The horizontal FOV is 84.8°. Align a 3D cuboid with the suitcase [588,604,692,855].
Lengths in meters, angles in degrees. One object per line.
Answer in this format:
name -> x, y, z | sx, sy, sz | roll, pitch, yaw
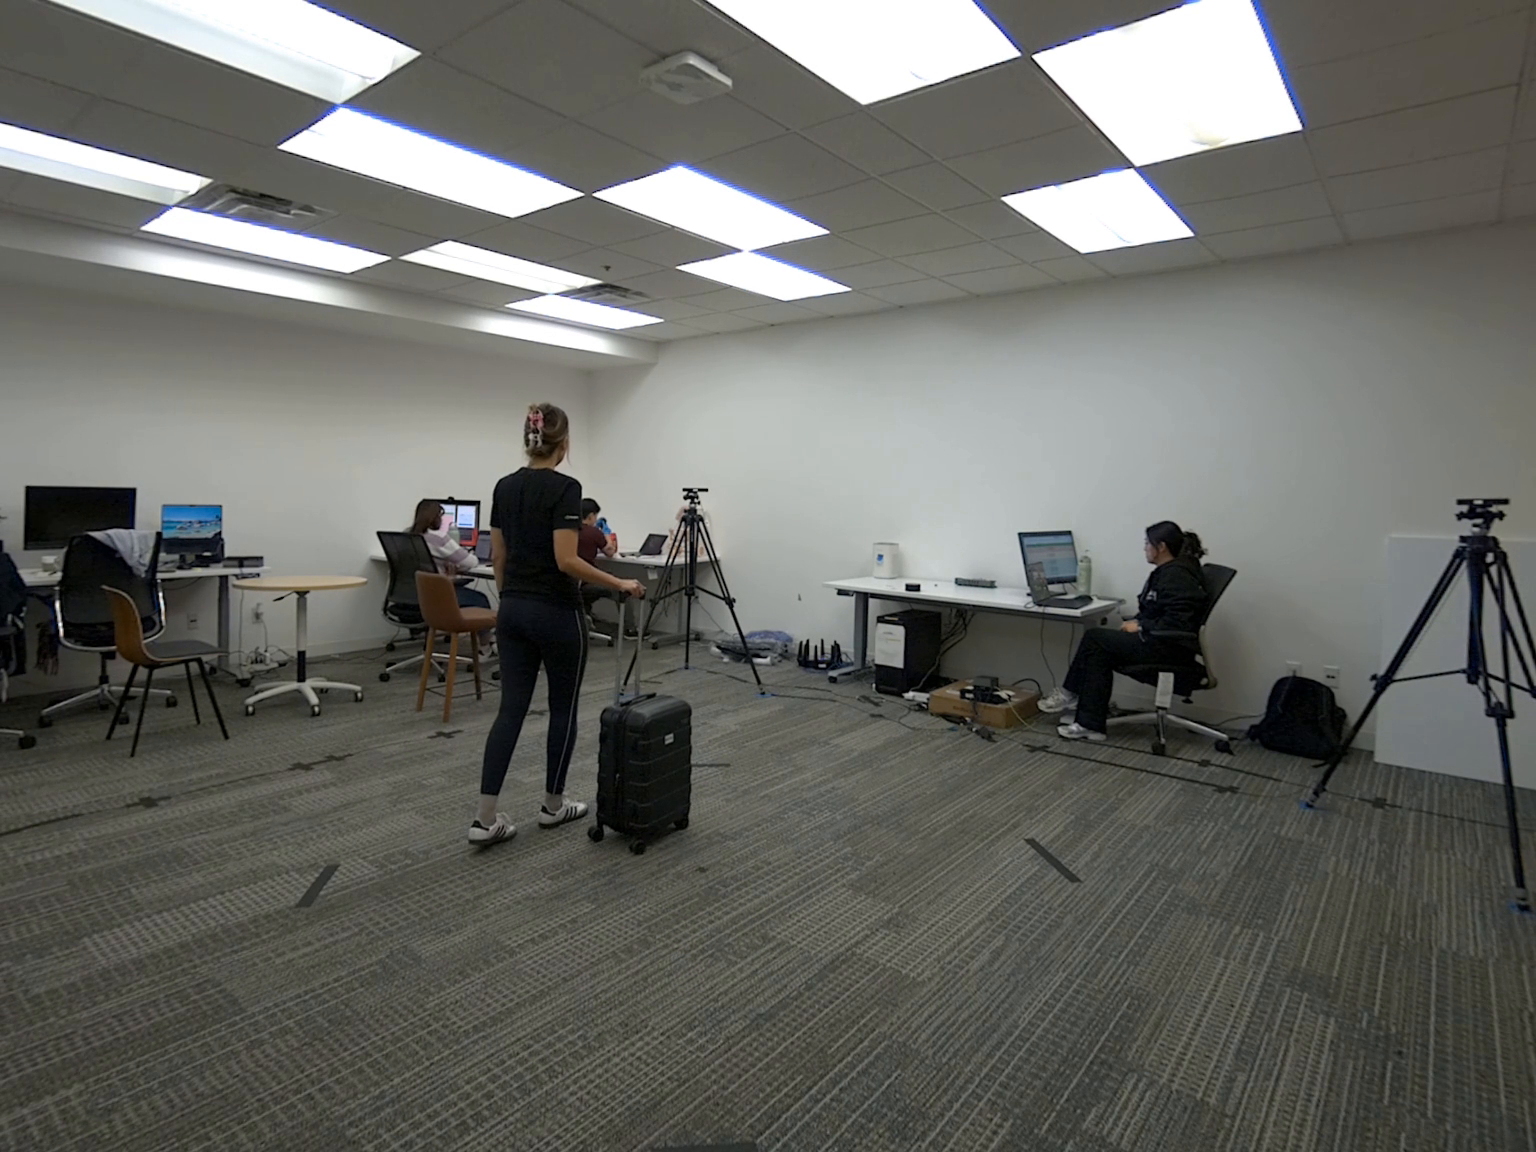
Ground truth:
suitcase -> -0.489, 0.561, 3.405 | 0.265, 0.977, 0.373 | 5, 3, 32
